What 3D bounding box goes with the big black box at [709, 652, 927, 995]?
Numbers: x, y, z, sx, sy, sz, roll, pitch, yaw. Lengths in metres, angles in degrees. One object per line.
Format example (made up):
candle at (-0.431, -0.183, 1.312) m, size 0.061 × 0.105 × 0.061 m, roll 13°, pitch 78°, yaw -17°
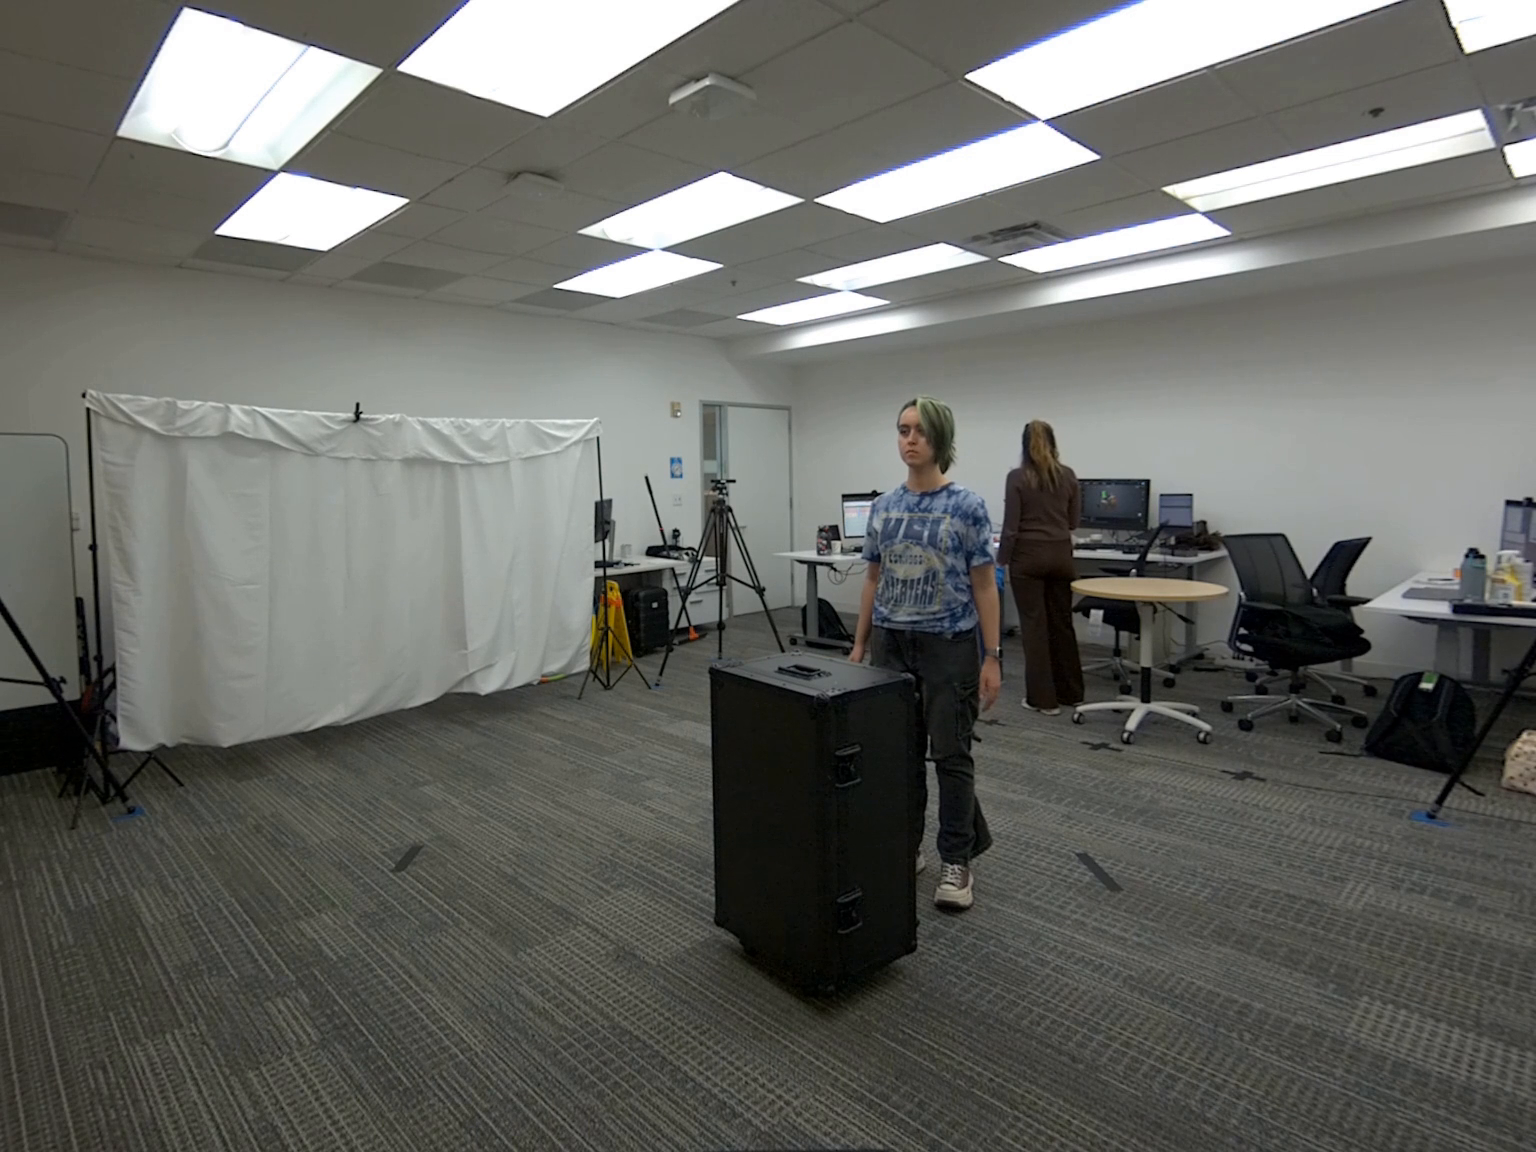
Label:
big black box at (0.134, 0.692, 2.463) m, size 0.386 × 0.858 × 0.537 m, roll -4°, pitch 5°, yaw -38°
